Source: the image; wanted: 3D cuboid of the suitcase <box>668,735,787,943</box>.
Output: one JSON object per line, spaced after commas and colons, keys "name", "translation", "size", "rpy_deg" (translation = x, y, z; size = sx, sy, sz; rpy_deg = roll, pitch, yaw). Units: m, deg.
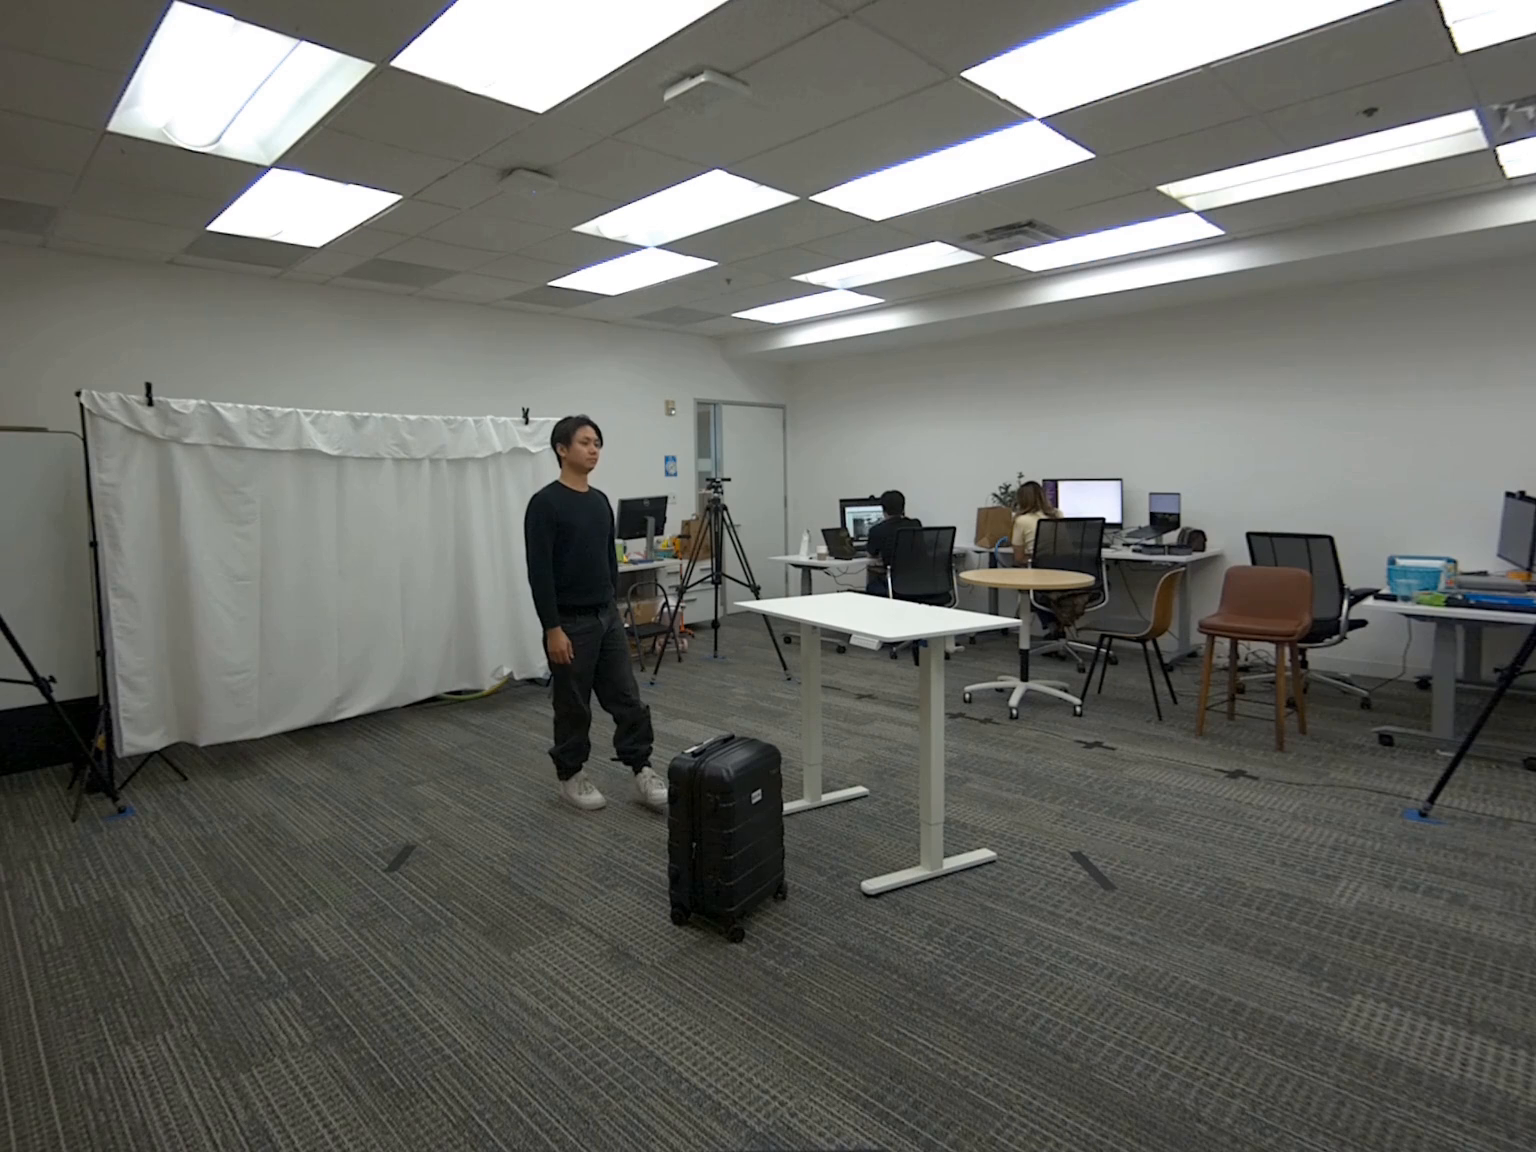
{"name": "suitcase", "translation": [-0.128, 0.808, 2.745], "size": [0.255, 0.547, 0.366], "rpy_deg": [2, 6, 33]}
